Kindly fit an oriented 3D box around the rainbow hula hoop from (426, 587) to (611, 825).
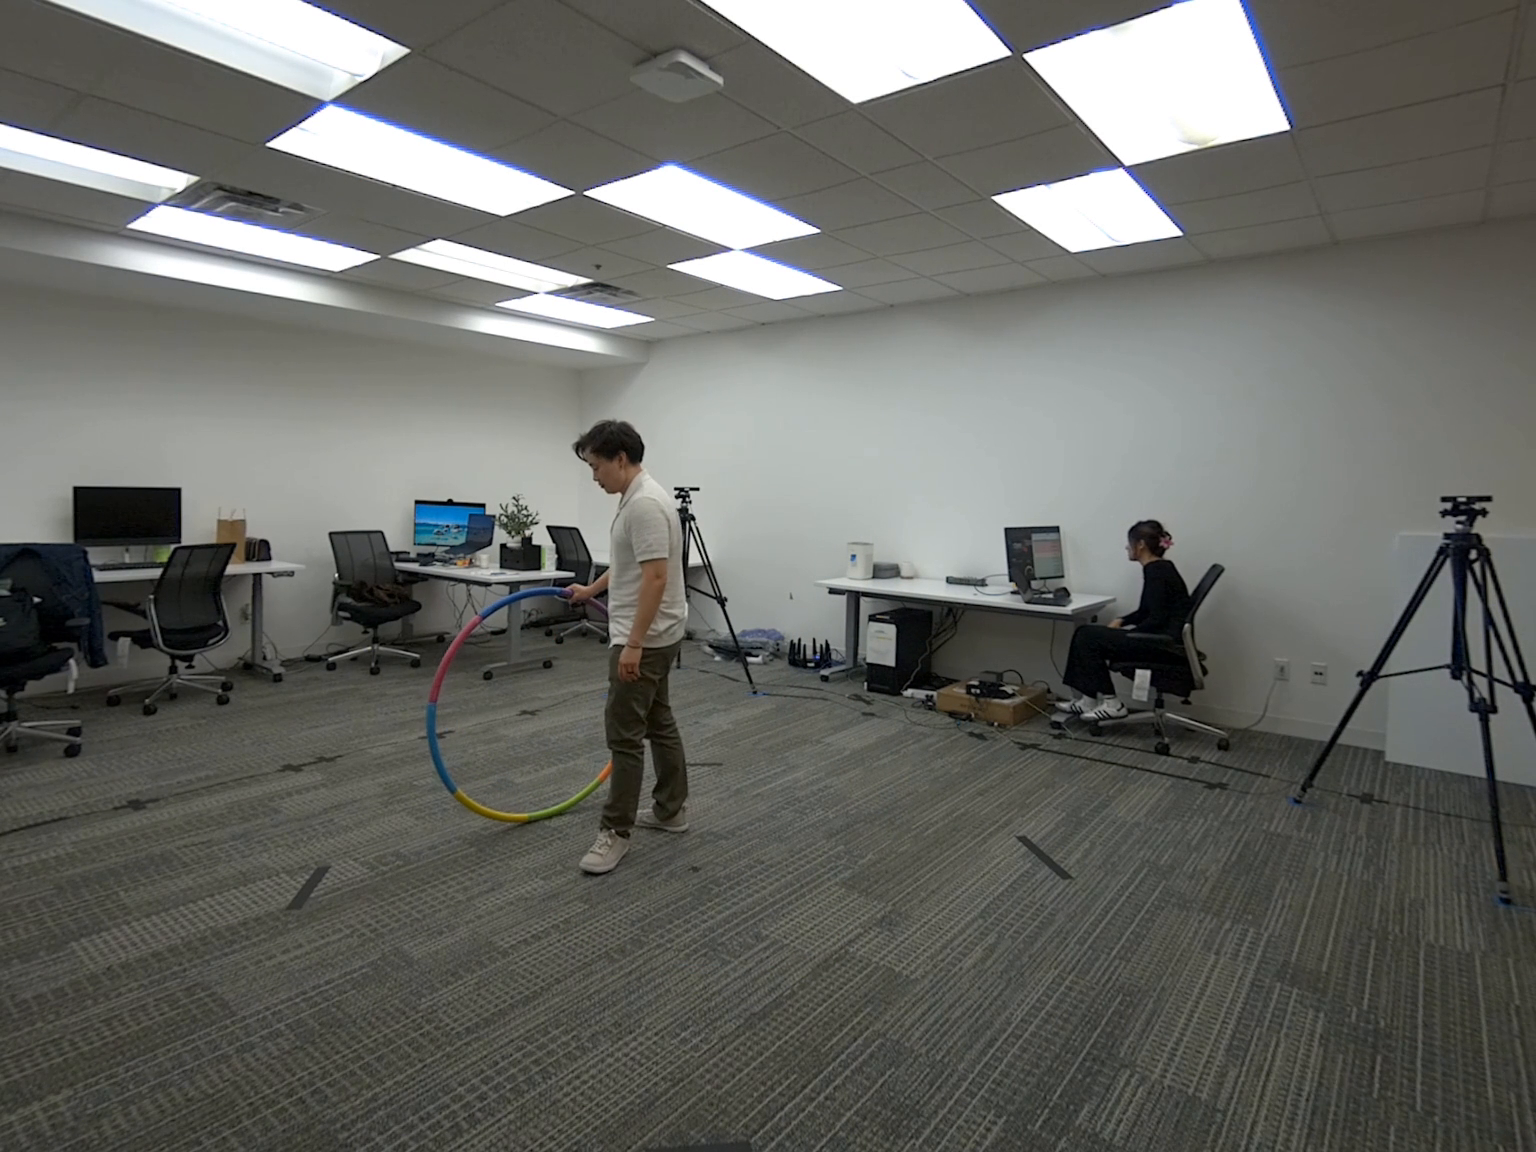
[{"bbox_3d":[-0.953,0.531,3.532,0.949,0.976,0.037,-3,4,-44],"label":"rainbow hula hoop"}]
